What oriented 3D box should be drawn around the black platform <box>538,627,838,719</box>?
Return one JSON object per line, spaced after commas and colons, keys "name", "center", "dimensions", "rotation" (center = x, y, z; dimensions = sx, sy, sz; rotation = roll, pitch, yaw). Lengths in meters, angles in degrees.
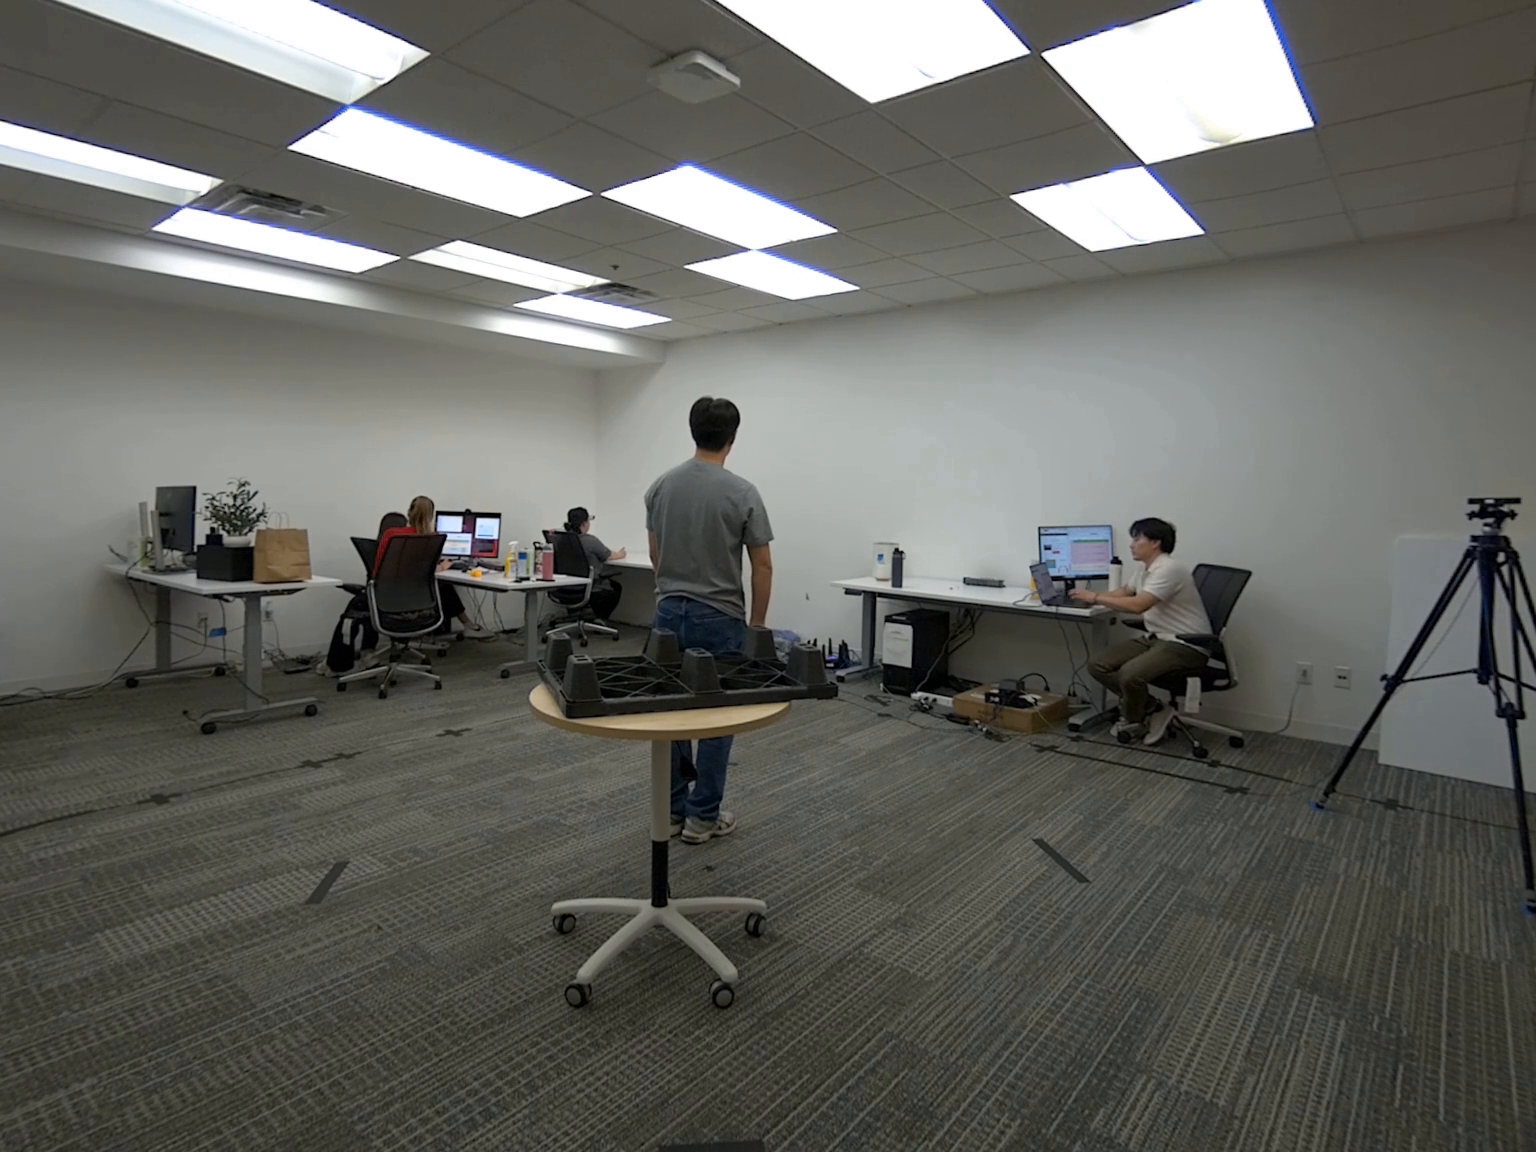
{"name": "black platform", "center": [-0.278, 0.264, 2.625], "dimensions": [0.789, 0.143, 0.620], "rotation": [-1, 6, -21]}
